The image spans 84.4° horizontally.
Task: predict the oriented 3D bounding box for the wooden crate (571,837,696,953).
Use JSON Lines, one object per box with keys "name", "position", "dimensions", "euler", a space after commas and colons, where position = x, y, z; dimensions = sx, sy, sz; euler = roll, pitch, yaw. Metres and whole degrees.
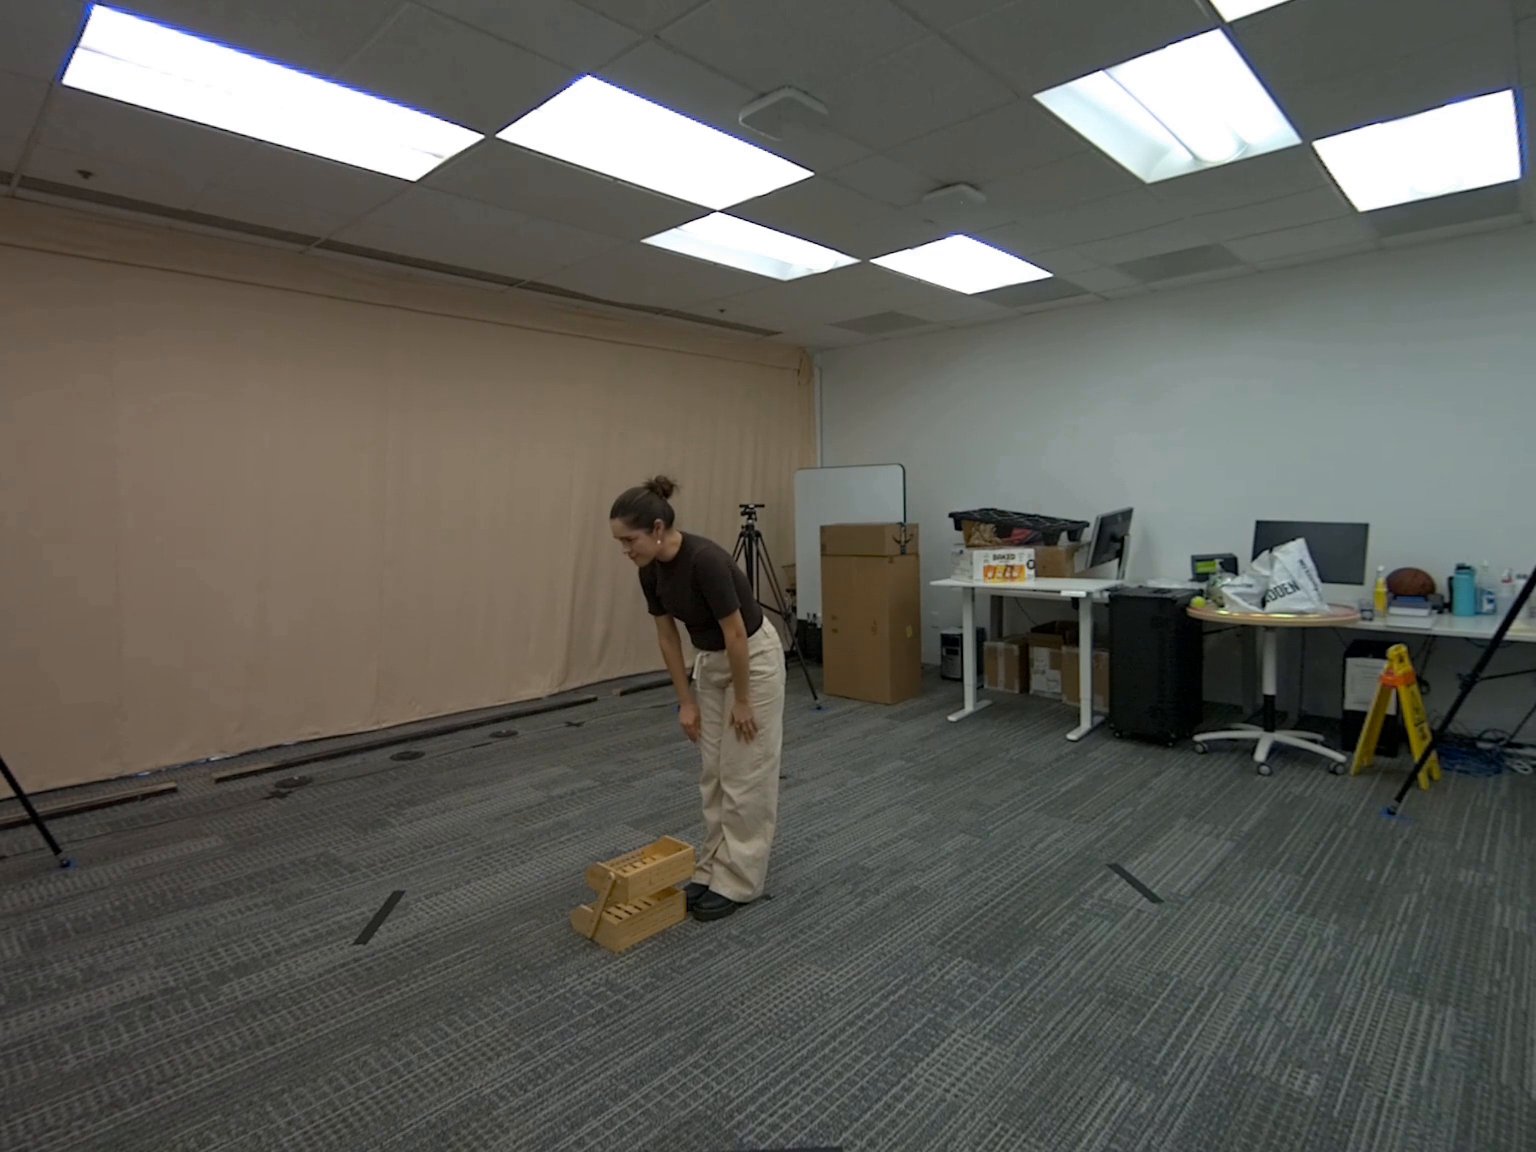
{"name": "wooden crate", "position": [-0.450, 1.030, 2.798], "dimensions": [0.312, 0.272, 0.314], "euler": [4, 6, 42]}
